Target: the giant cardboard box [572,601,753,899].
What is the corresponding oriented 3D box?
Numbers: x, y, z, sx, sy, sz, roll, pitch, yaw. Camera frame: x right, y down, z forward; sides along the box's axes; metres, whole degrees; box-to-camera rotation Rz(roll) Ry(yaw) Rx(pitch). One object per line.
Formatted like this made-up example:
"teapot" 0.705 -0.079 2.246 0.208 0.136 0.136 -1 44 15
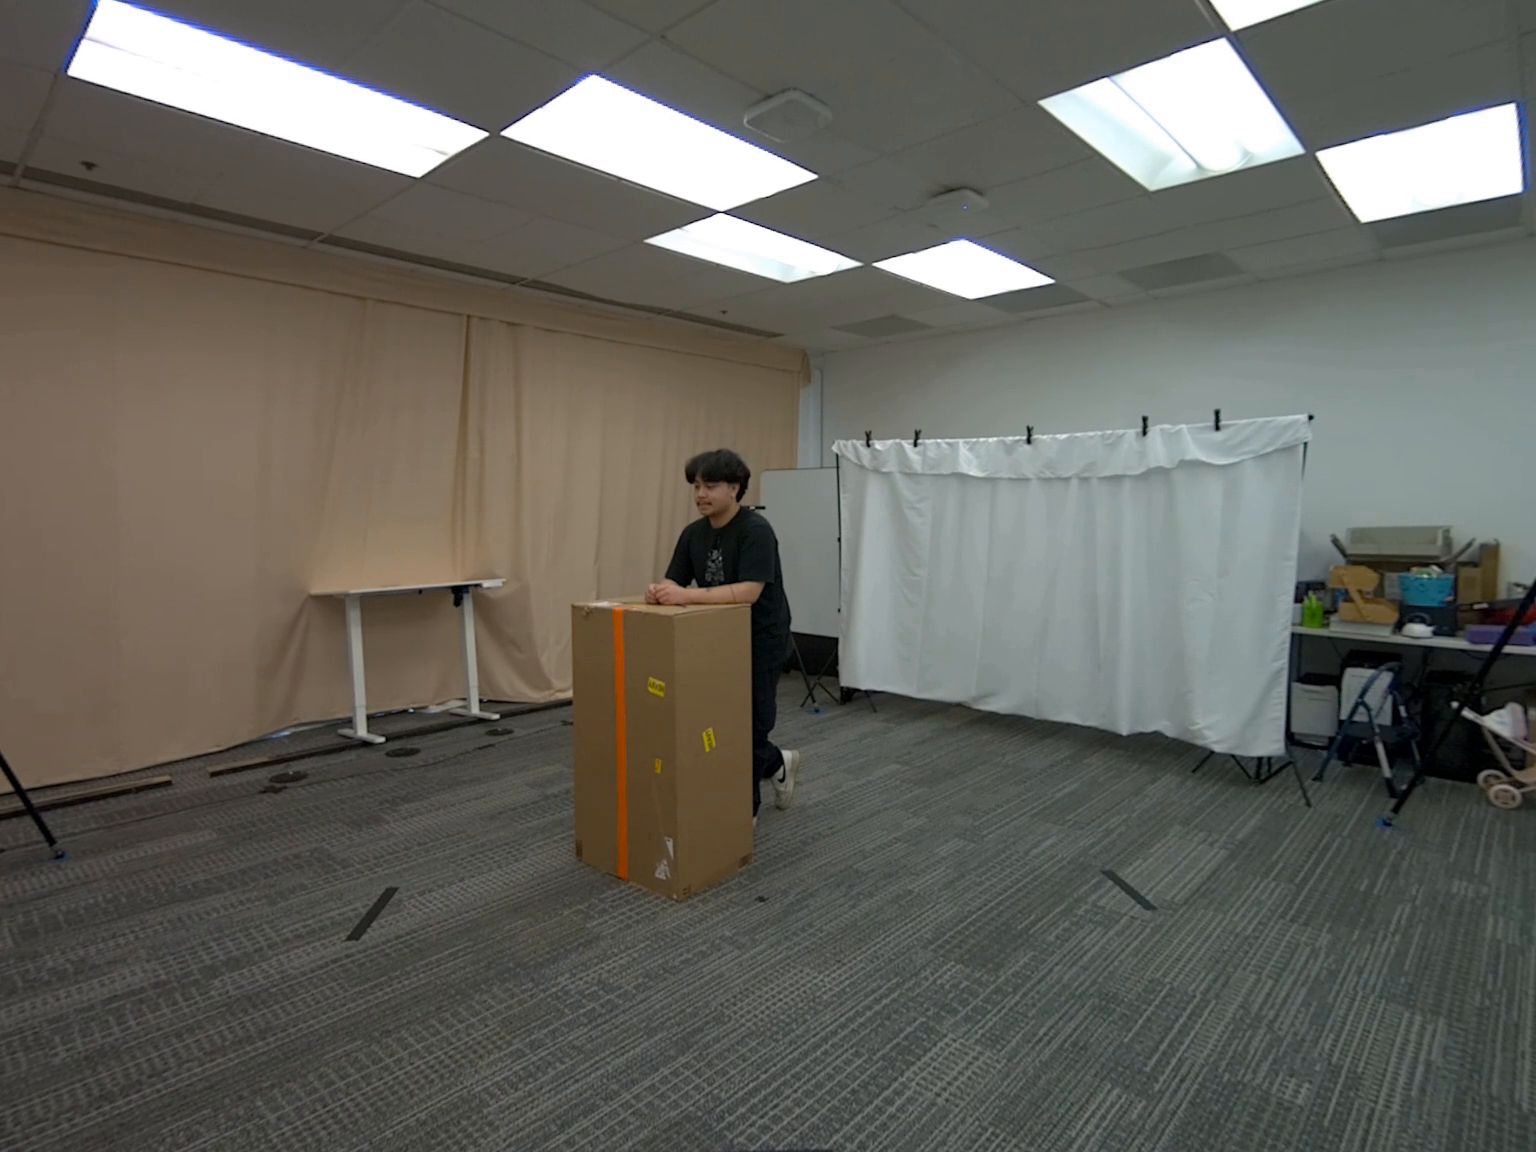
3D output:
"giant cardboard box" -0.419 0.613 3.281 0.603 1.025 0.433 2 4 41
